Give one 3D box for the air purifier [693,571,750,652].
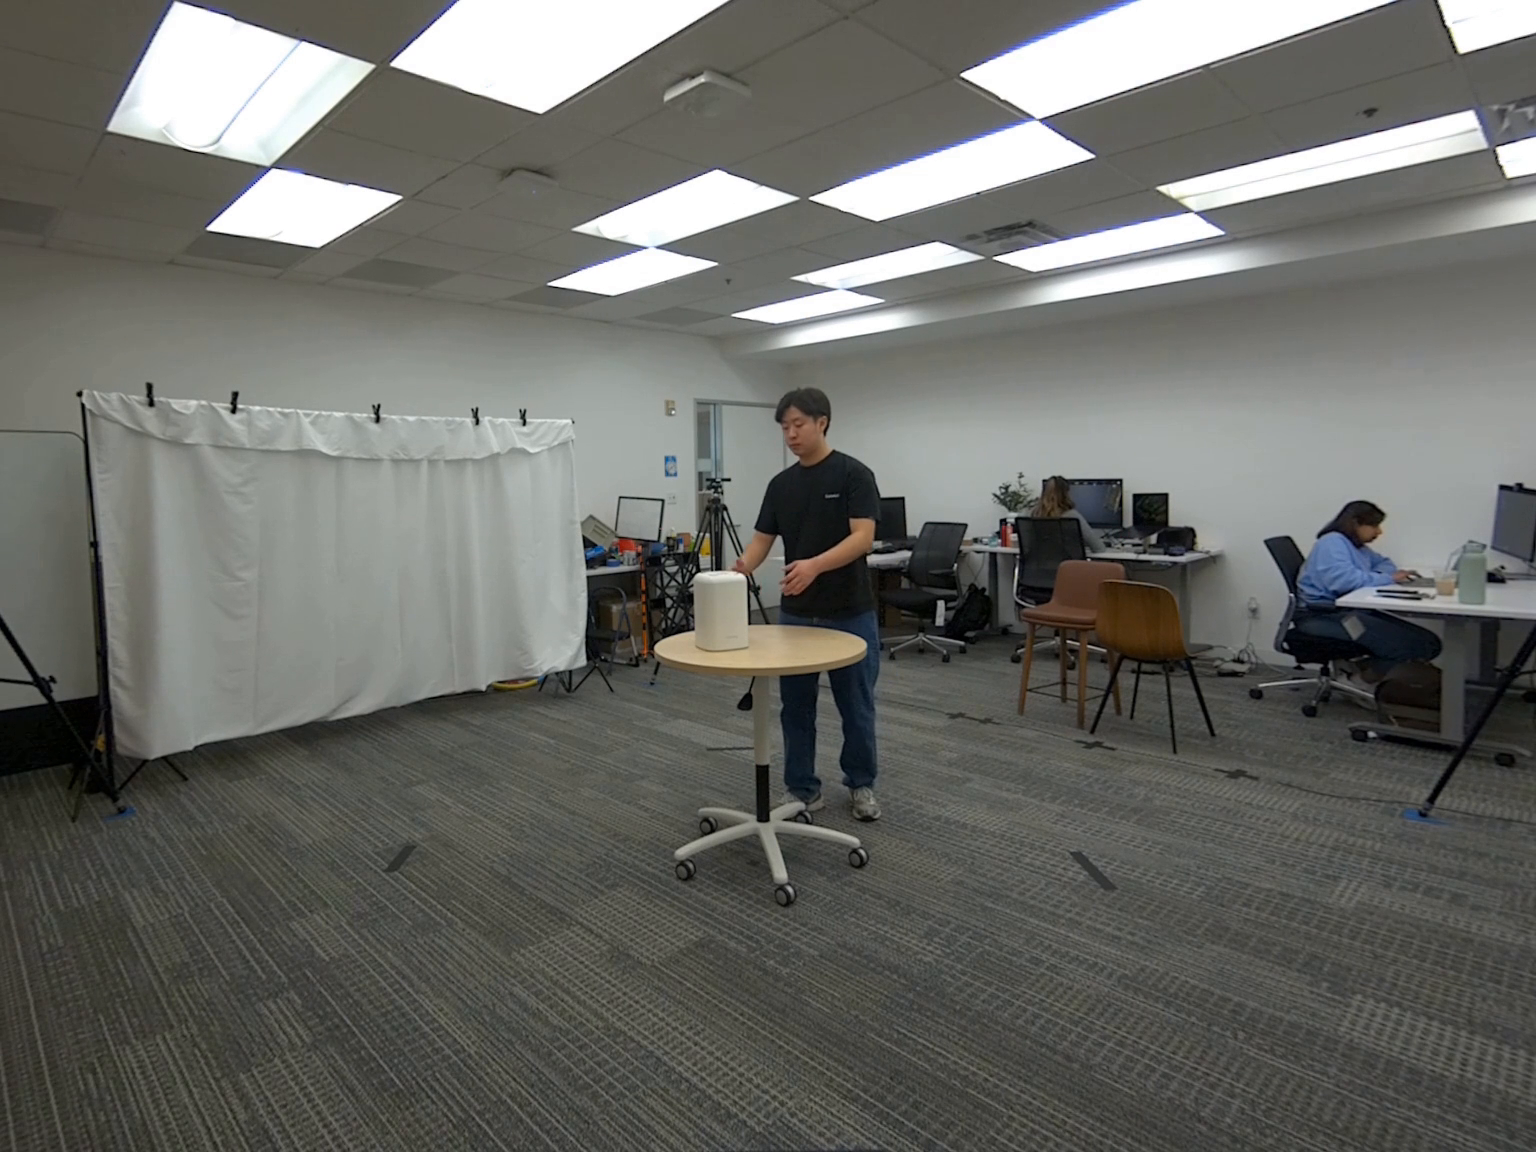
[{"bbox_3d":[-0.165,0.120,3.061,0.167,0.264,0.176,-3,4,-25],"label":"air purifier"}]
